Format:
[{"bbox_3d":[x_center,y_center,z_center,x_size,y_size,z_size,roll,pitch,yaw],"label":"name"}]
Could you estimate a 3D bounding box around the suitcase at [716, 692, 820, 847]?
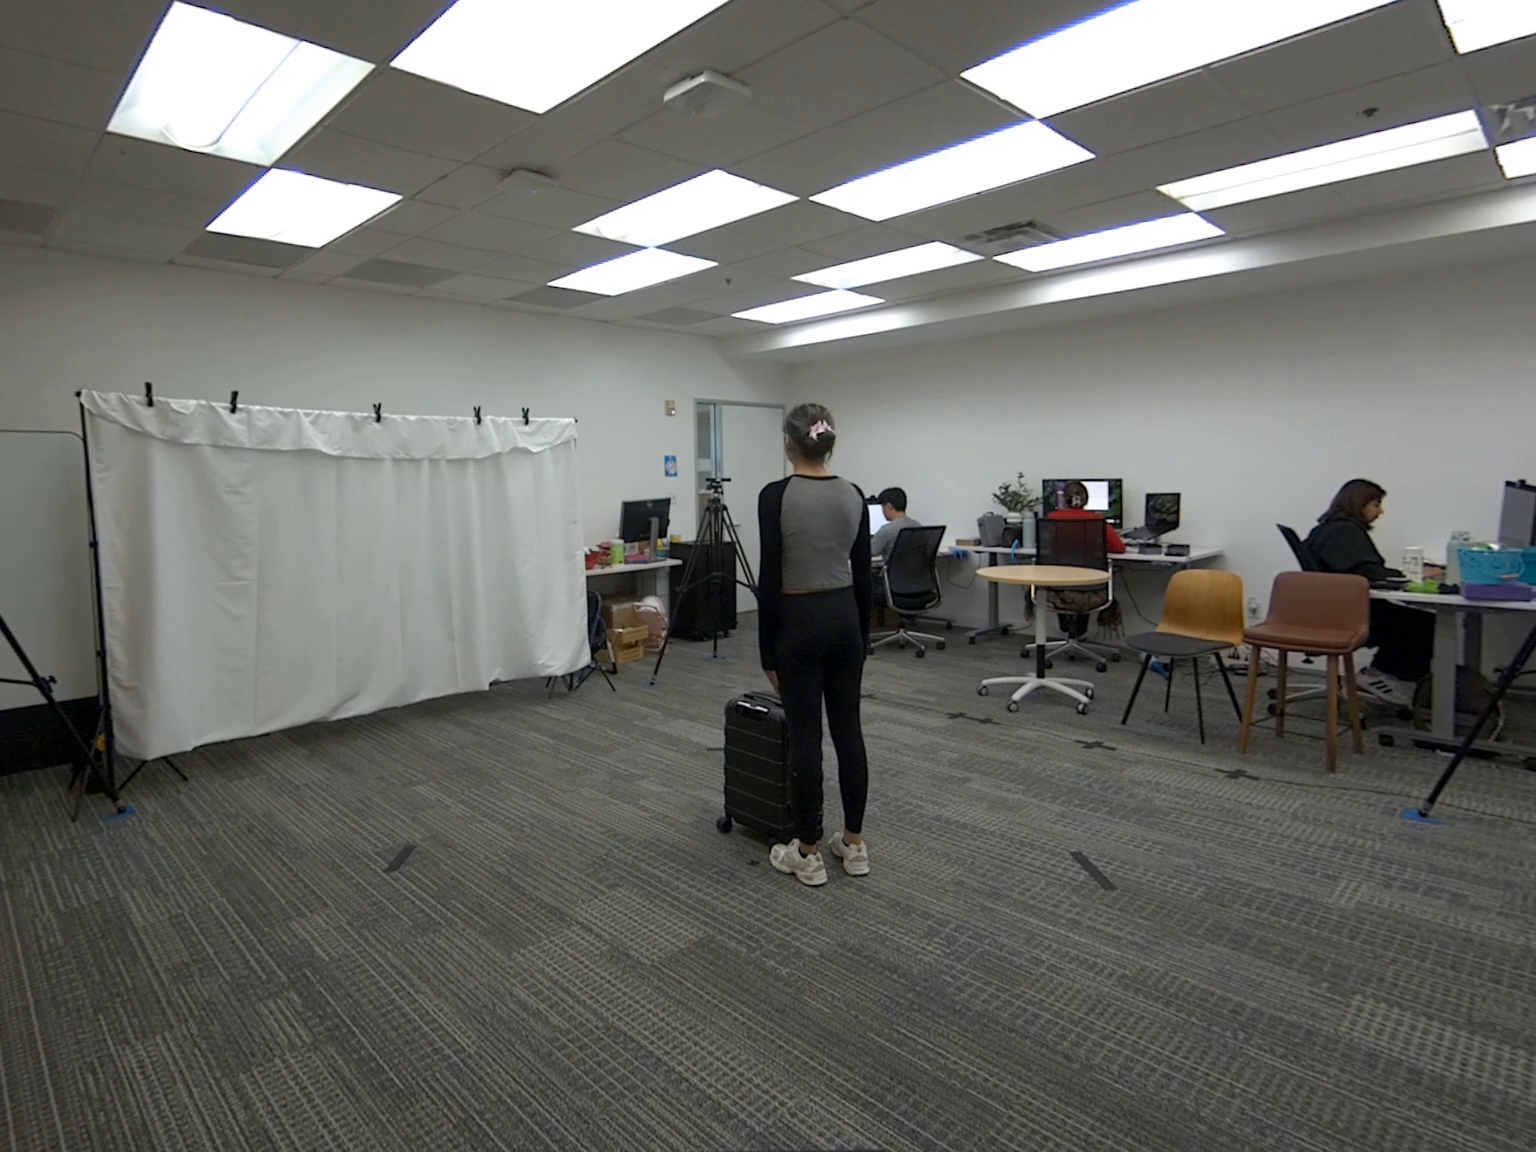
[{"bbox_3d":[0.014,0.739,3.351,0.241,0.548,0.387,-2,5,-44],"label":"suitcase"}]
